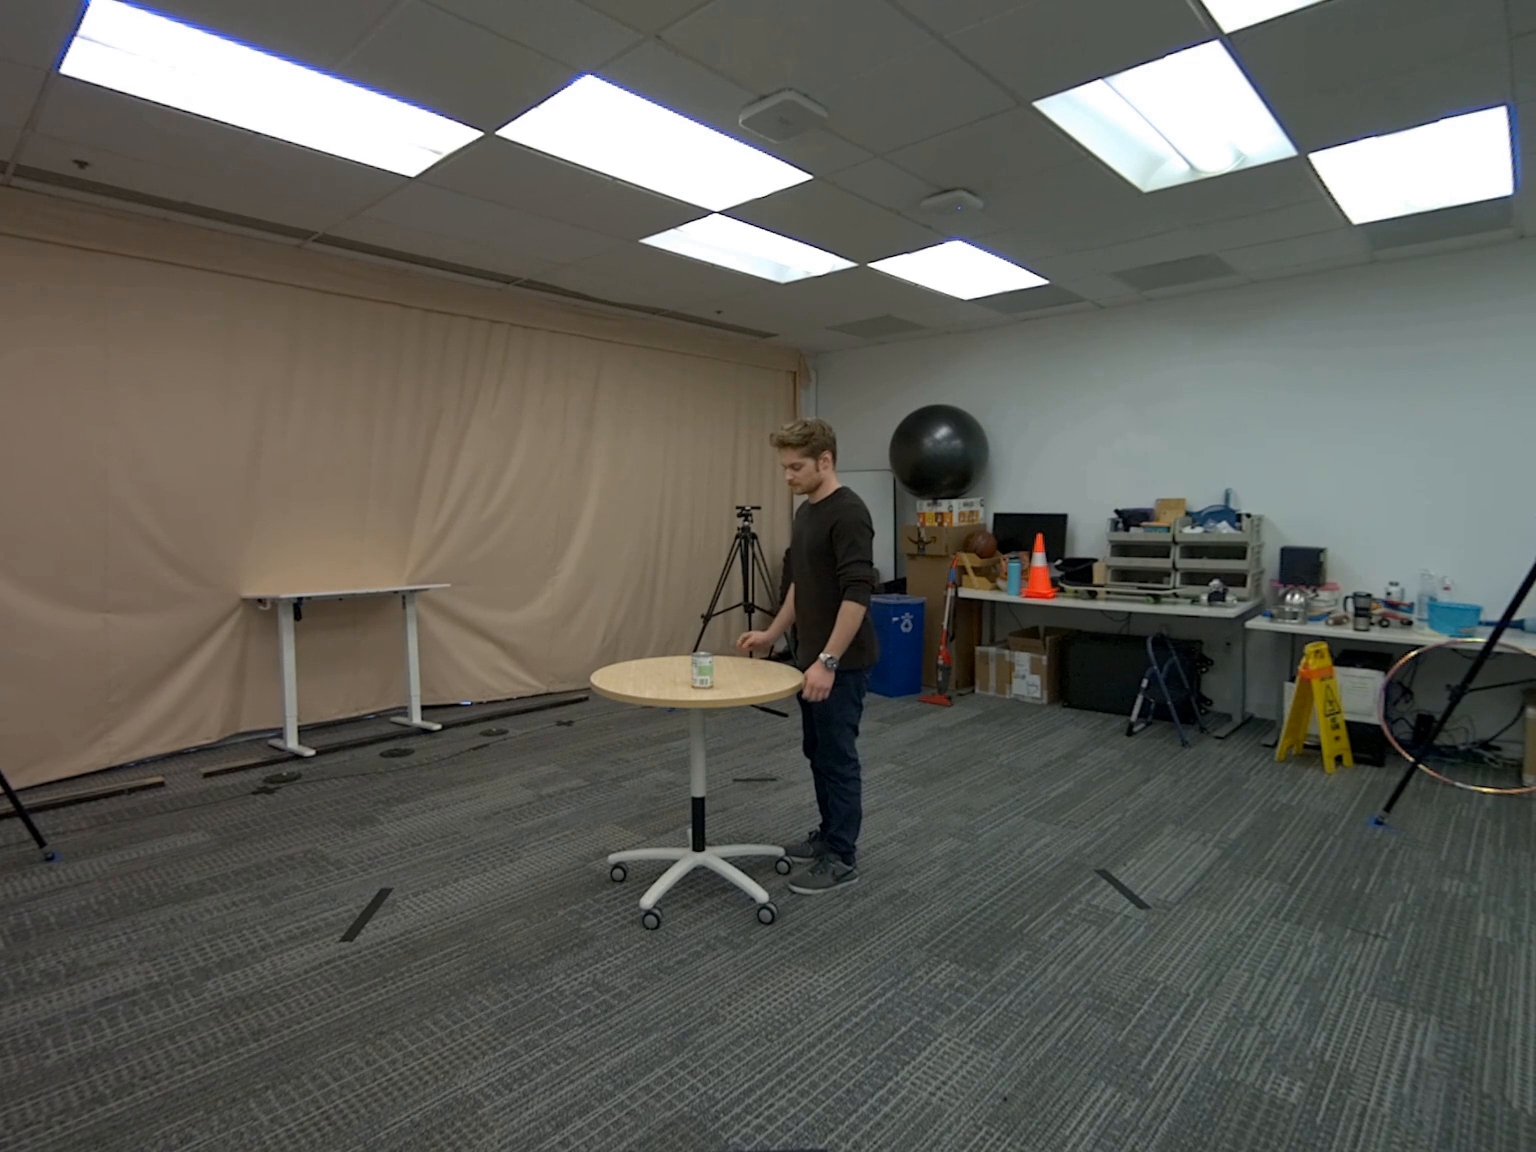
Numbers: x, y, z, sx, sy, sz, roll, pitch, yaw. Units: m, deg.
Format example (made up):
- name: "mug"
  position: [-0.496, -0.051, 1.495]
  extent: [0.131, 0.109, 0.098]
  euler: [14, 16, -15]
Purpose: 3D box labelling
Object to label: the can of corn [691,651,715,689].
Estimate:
- name: "can of corn"
  position: [-0.219, 0.320, 2.837]
  extent: [0.074, 0.111, 0.074]
  euler: [-1, 3, -2]
